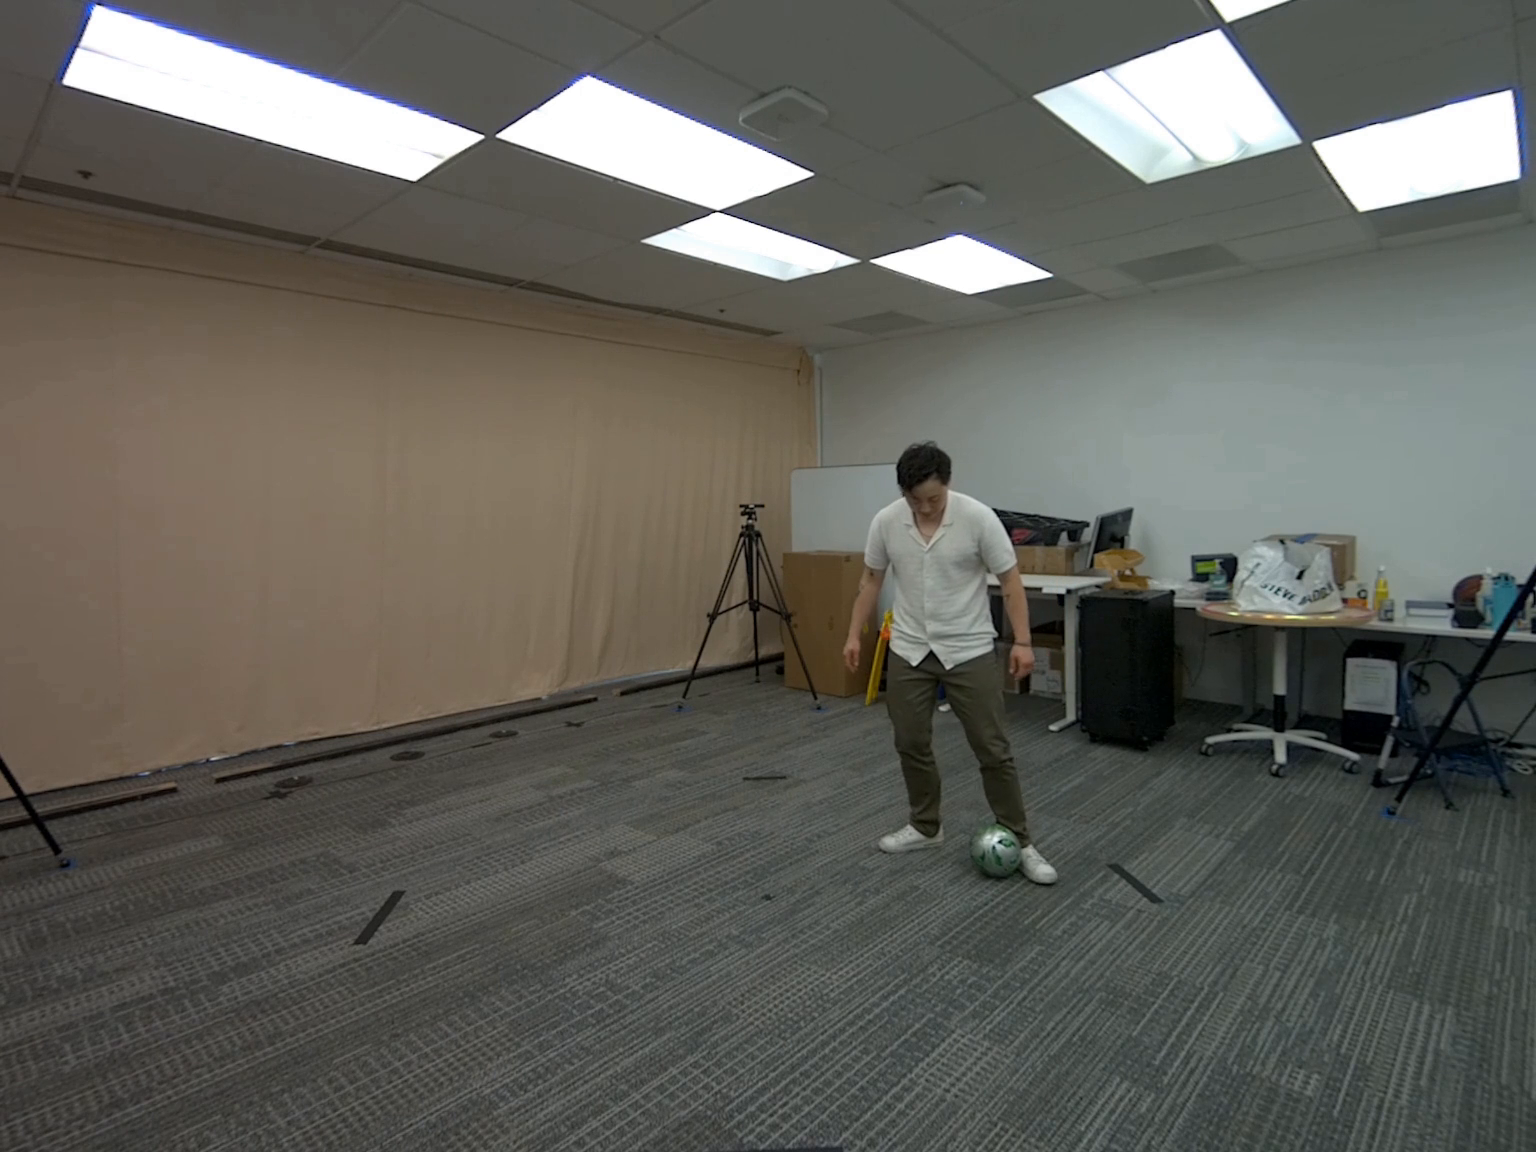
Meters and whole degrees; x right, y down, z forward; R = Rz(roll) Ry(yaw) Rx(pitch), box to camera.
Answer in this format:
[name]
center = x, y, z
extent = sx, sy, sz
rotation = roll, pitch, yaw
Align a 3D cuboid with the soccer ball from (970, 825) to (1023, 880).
[soccer ball]
center = 0.833, 1.020, 3.128
extent = 0.187, 0.187, 0.188
rotation = -1, 4, -2
